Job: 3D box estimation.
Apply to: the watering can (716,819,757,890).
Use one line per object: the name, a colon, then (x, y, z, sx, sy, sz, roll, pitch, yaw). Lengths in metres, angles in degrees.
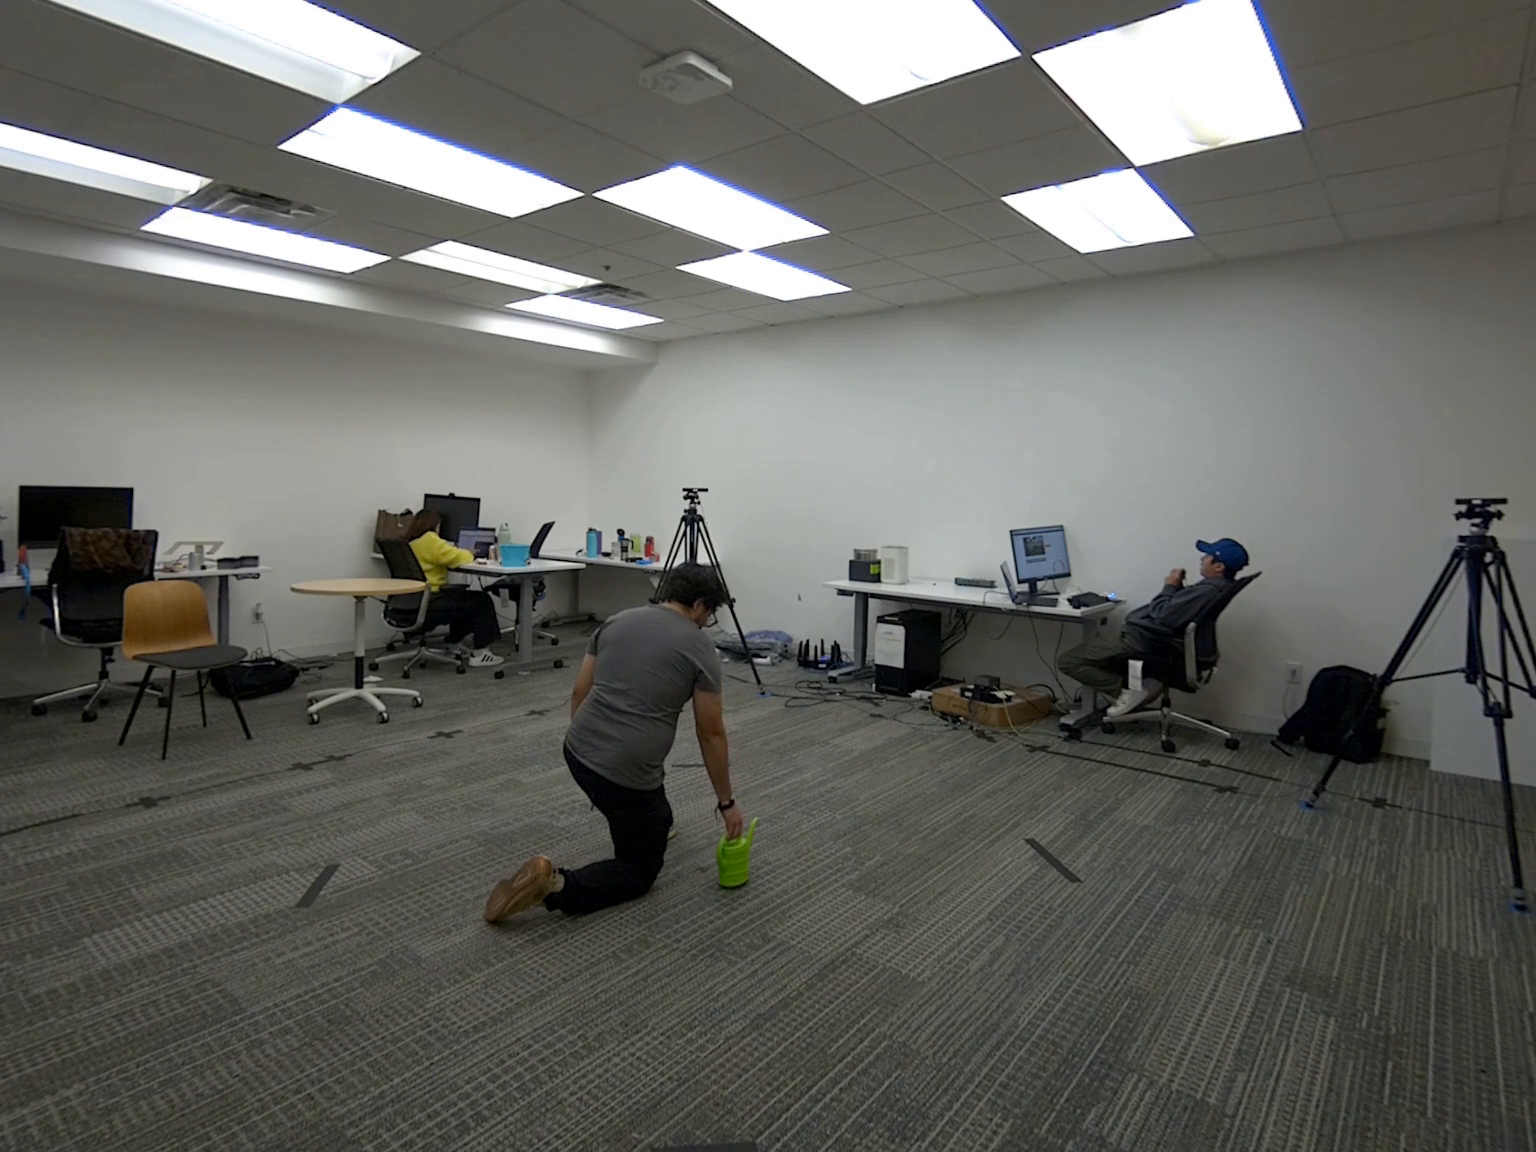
watering can: (-0.103, 0.994, 3.036, 0.101, 0.177, 0.269, 0, 1, 44)
